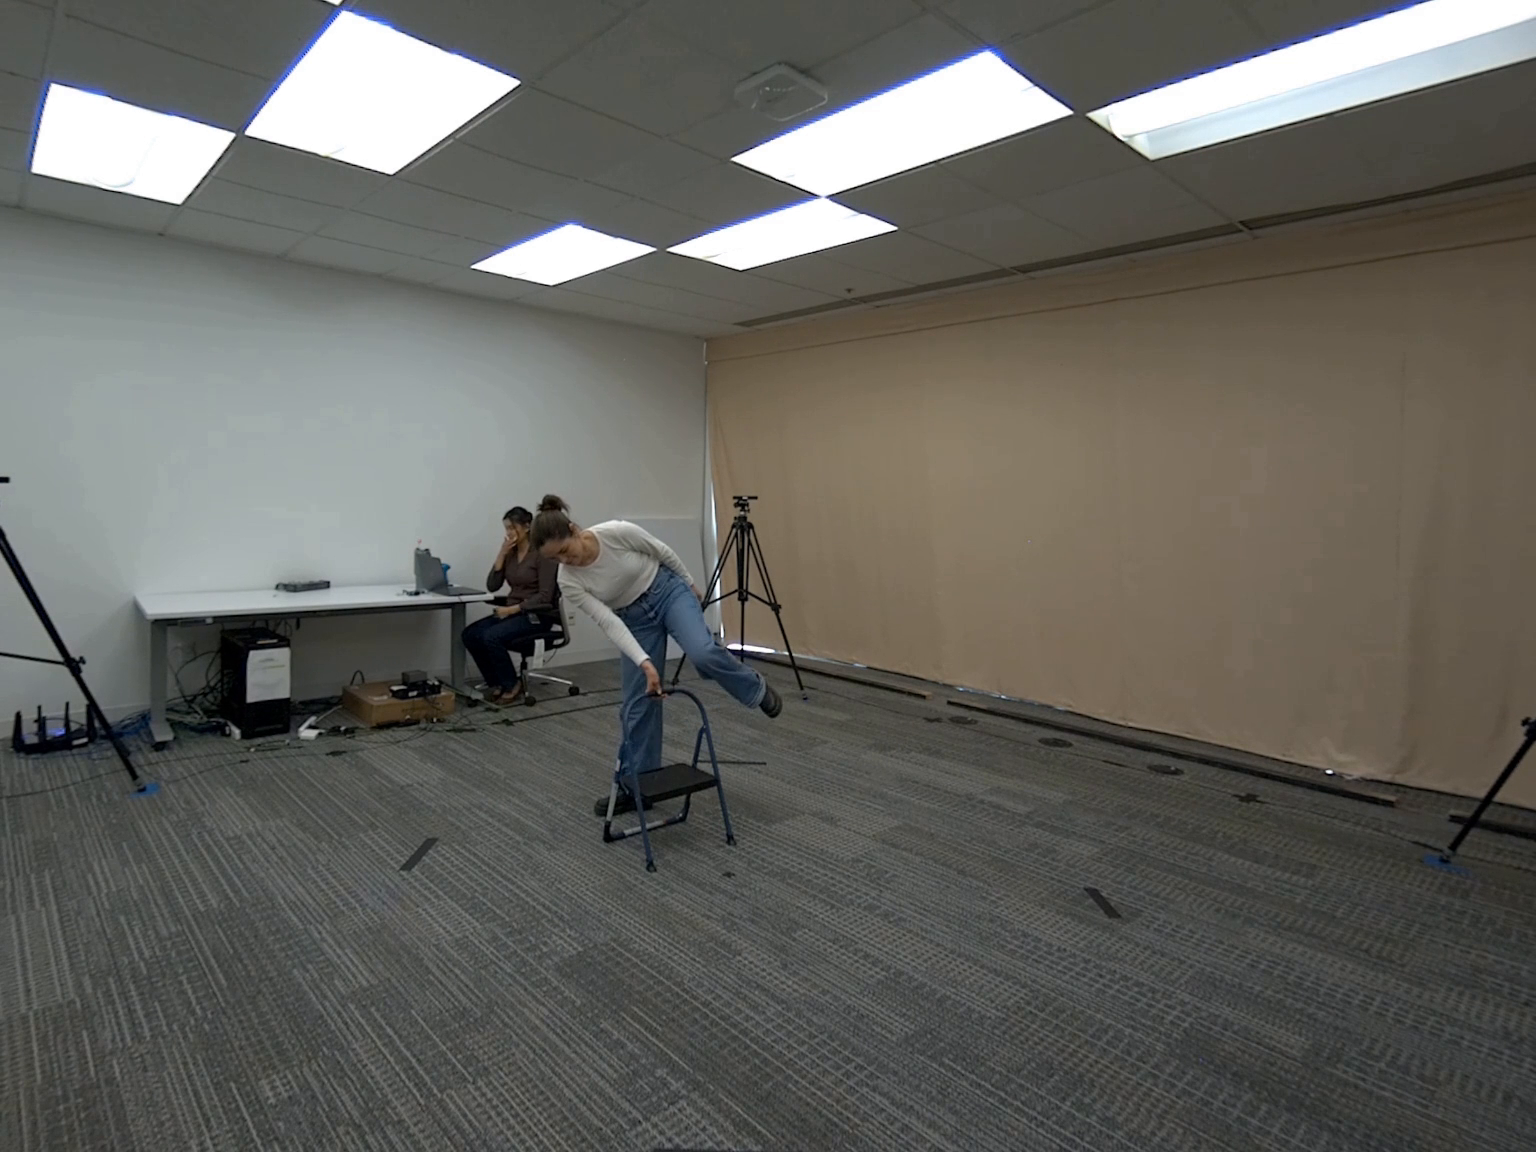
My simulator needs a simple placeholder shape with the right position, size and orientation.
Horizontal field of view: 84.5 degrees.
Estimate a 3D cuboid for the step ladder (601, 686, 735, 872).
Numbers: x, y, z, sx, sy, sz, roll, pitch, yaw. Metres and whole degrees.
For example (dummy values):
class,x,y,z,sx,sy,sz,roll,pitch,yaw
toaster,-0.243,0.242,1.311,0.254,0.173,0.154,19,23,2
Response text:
class,x,y,z,sx,sy,sz,roll,pitch,yaw
step ladder,-0.395,0.773,3.364,0.421,0.604,0.358,-2,5,-43
